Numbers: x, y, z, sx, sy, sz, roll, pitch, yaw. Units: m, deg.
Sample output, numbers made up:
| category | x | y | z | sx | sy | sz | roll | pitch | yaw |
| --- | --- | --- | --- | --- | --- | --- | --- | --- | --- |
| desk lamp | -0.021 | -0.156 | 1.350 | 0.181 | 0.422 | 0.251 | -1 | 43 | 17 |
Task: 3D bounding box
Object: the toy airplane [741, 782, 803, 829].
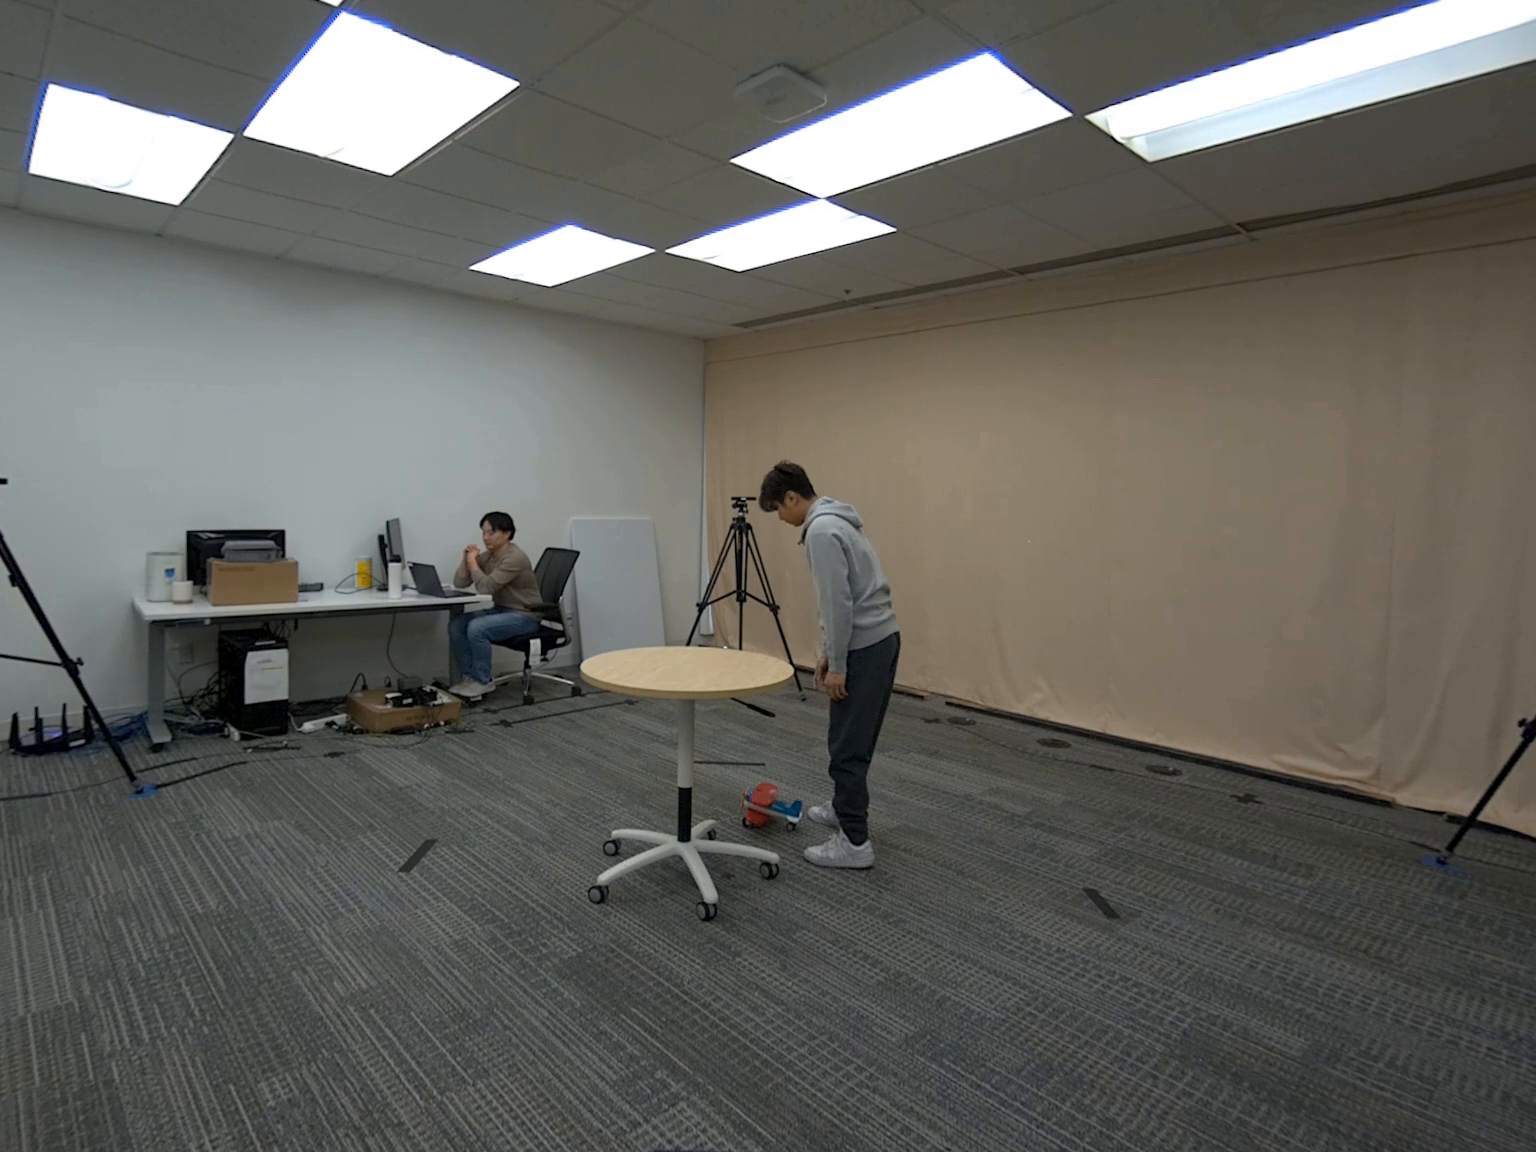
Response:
| category | x | y | z | sx | sy | sz | roll | pitch | yaw |
| --- | --- | --- | --- | --- | --- | --- | --- | --- | --- |
| toy airplane | 0.003 | 0.994 | 3.602 | 0.256 | 0.156 | 0.254 | 0 | 4 | -14 |
